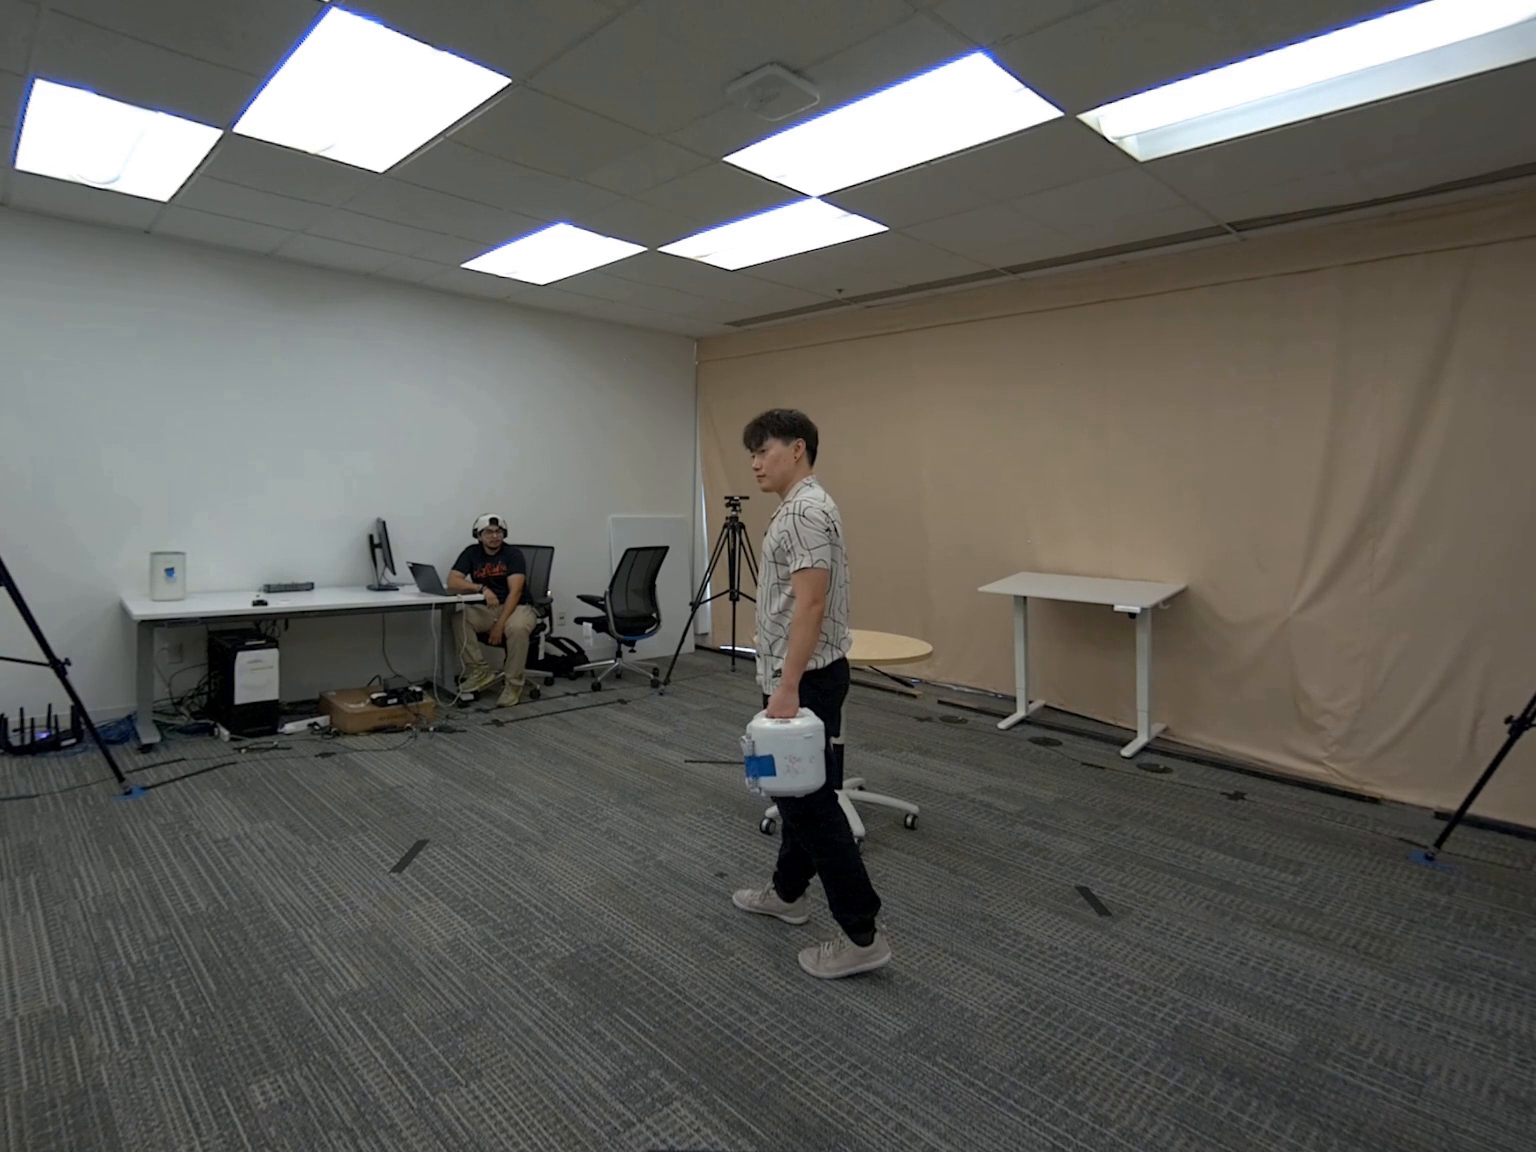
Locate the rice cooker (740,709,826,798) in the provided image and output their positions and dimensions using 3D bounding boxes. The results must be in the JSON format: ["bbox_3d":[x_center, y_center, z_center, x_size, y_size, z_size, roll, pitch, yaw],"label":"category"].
[{"bbox_3d":[0.035,0.482,2.336,0.224,0.233,0.214,-2,-1,19],"label":"rice cooker"}]
